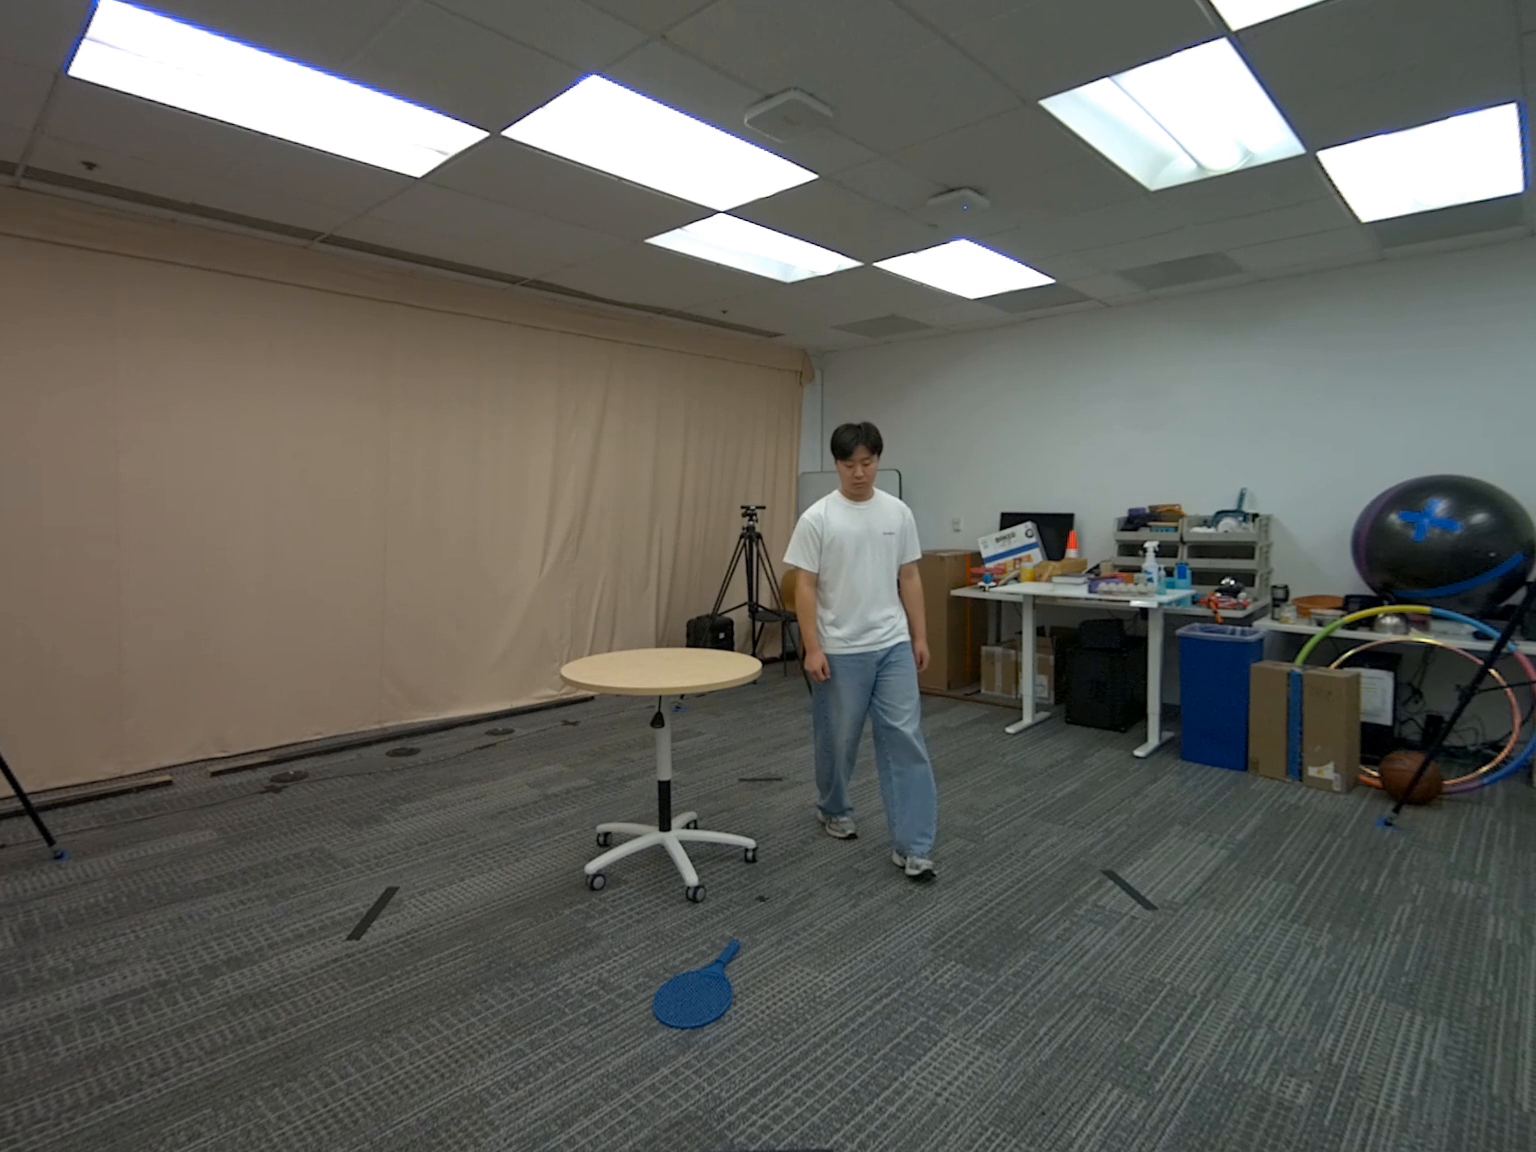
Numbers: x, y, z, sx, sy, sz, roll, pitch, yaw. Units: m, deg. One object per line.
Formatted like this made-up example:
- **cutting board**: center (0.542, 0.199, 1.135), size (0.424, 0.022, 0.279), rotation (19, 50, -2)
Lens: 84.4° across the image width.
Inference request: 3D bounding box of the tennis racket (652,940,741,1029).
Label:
- **tennis racket**: center (-0.177, 1.176, 2.442), size (0.219, 0.031, 0.424), rotation (3, 8, 24)
